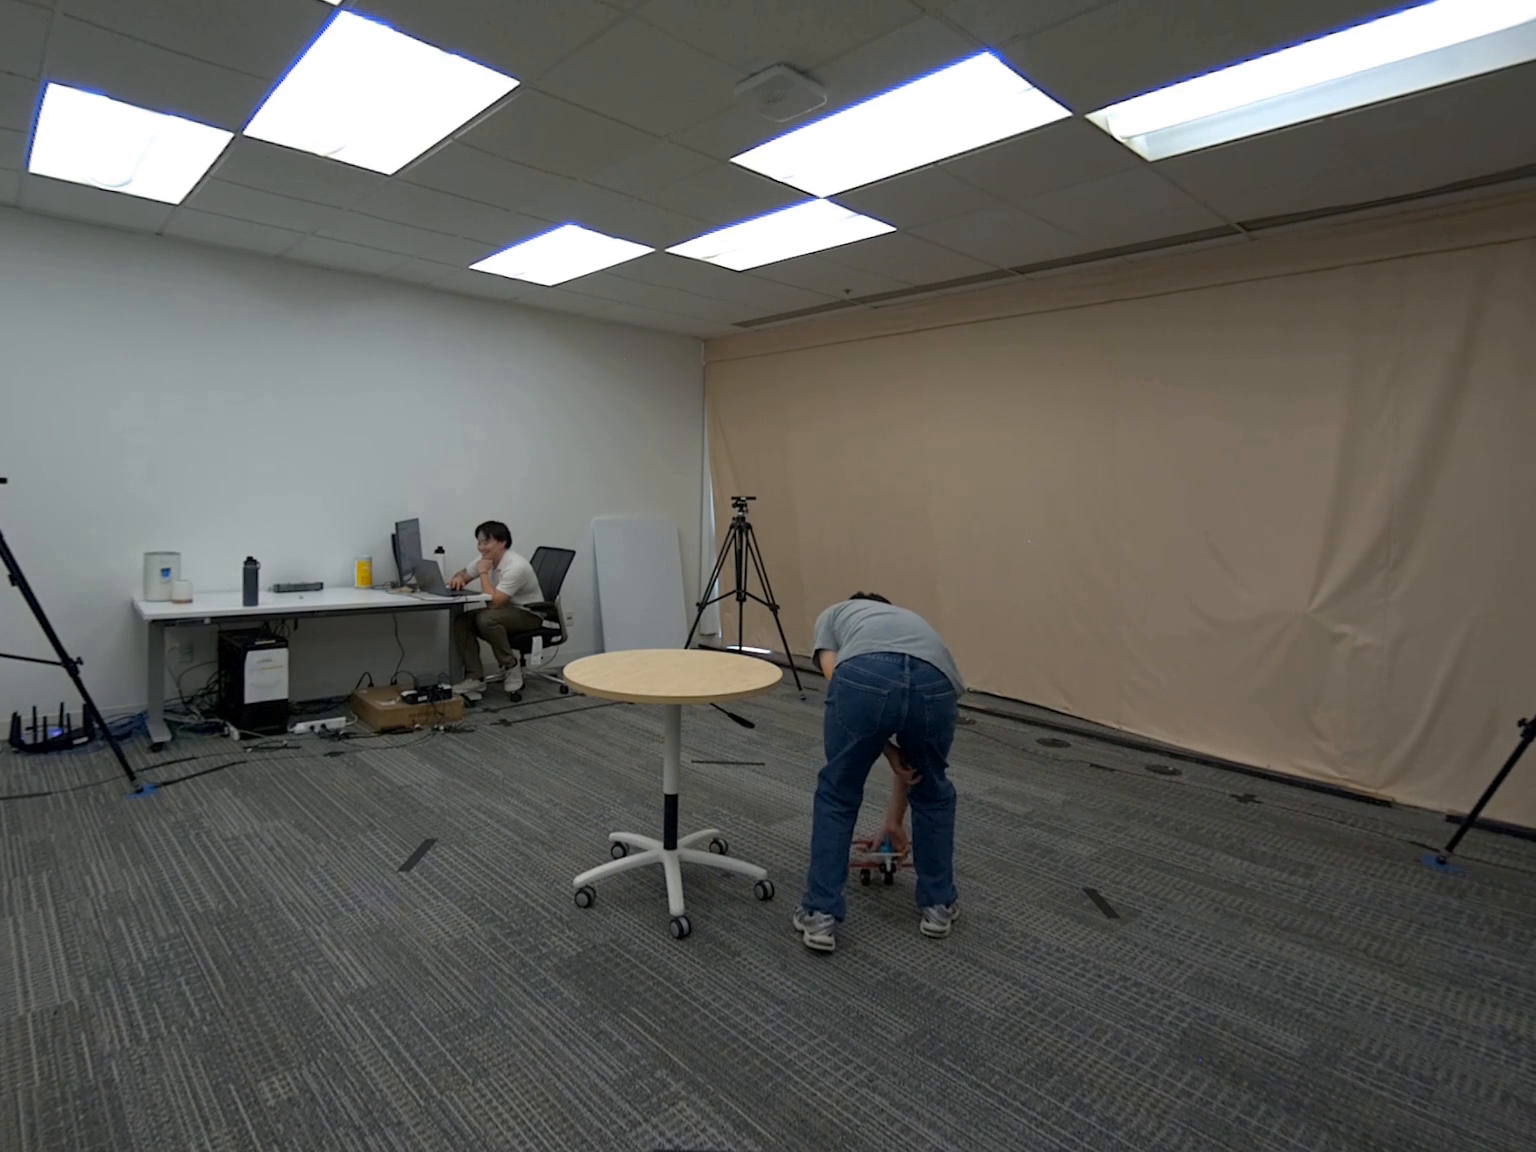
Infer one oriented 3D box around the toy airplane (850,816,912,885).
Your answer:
[{"bbox_3d":[0.414,1.013,3.015,0.245,0.160,0.260,19,-38,-29],"label":"toy airplane"}]
